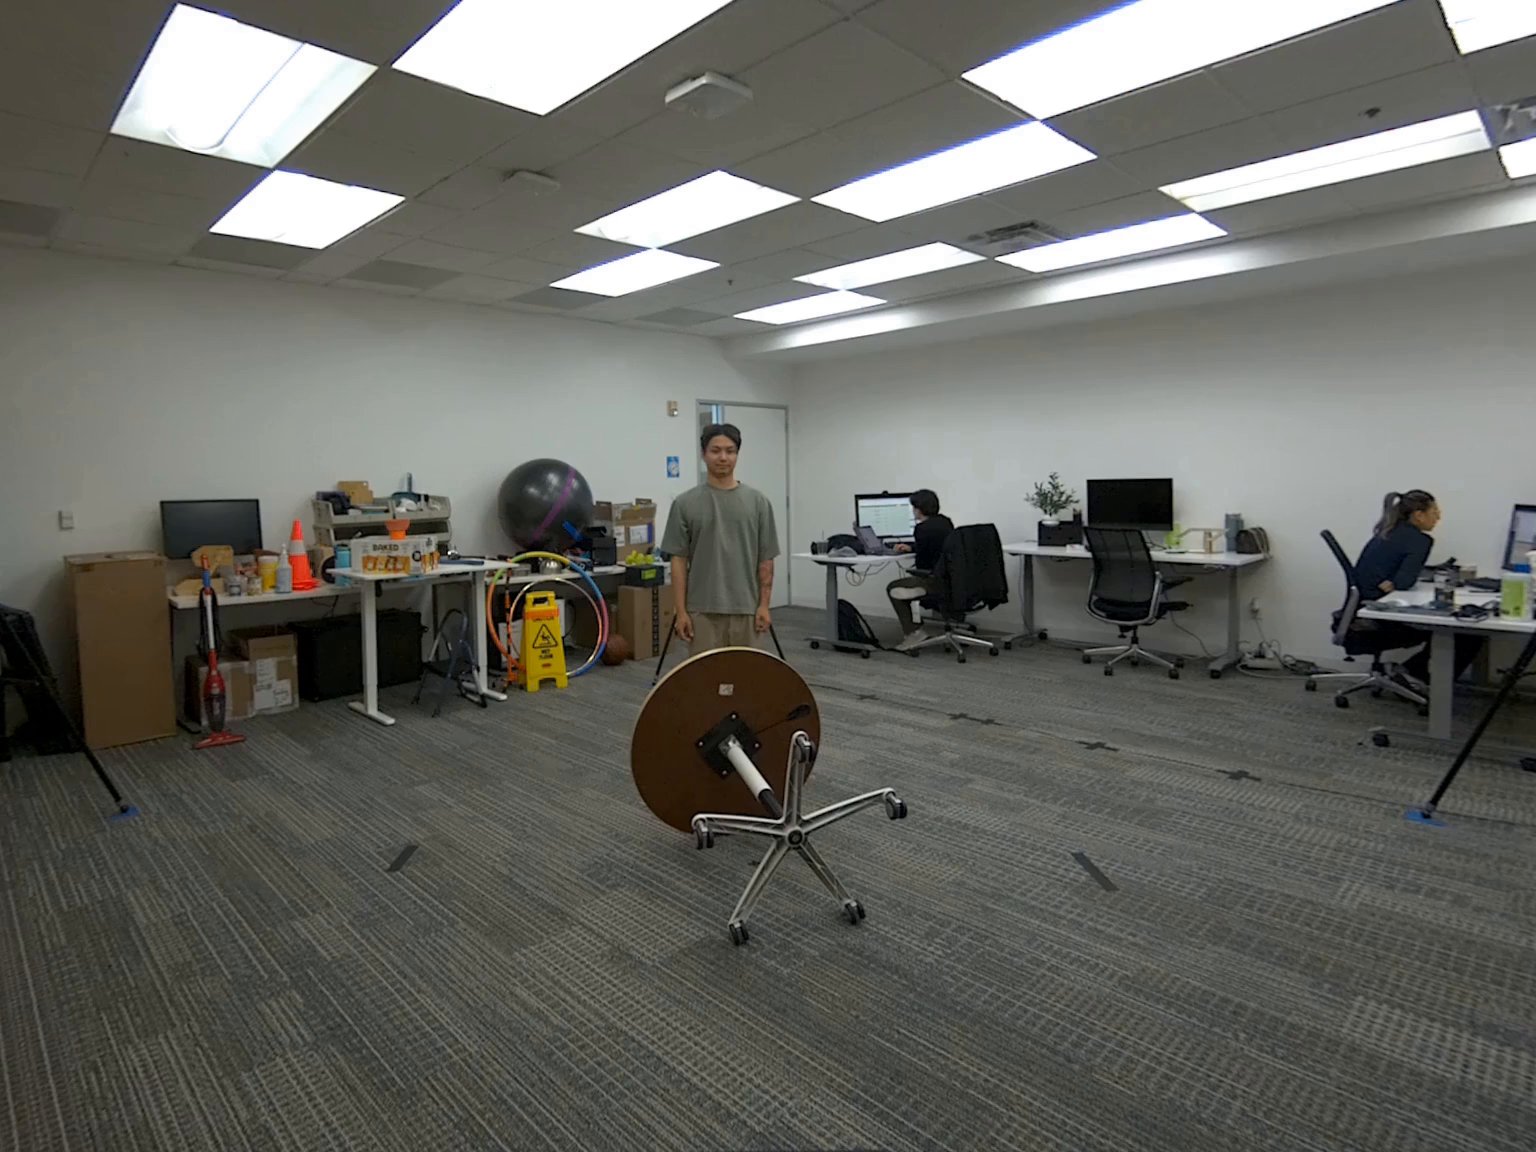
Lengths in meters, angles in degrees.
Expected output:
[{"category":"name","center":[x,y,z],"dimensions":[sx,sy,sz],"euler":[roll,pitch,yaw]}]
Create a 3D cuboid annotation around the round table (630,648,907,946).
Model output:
[{"category":"round table","center":[-0.026,0.736,2.929],"dimensions":[0.773,0.777,0.807],"euler":[-2,12,-18]}]
